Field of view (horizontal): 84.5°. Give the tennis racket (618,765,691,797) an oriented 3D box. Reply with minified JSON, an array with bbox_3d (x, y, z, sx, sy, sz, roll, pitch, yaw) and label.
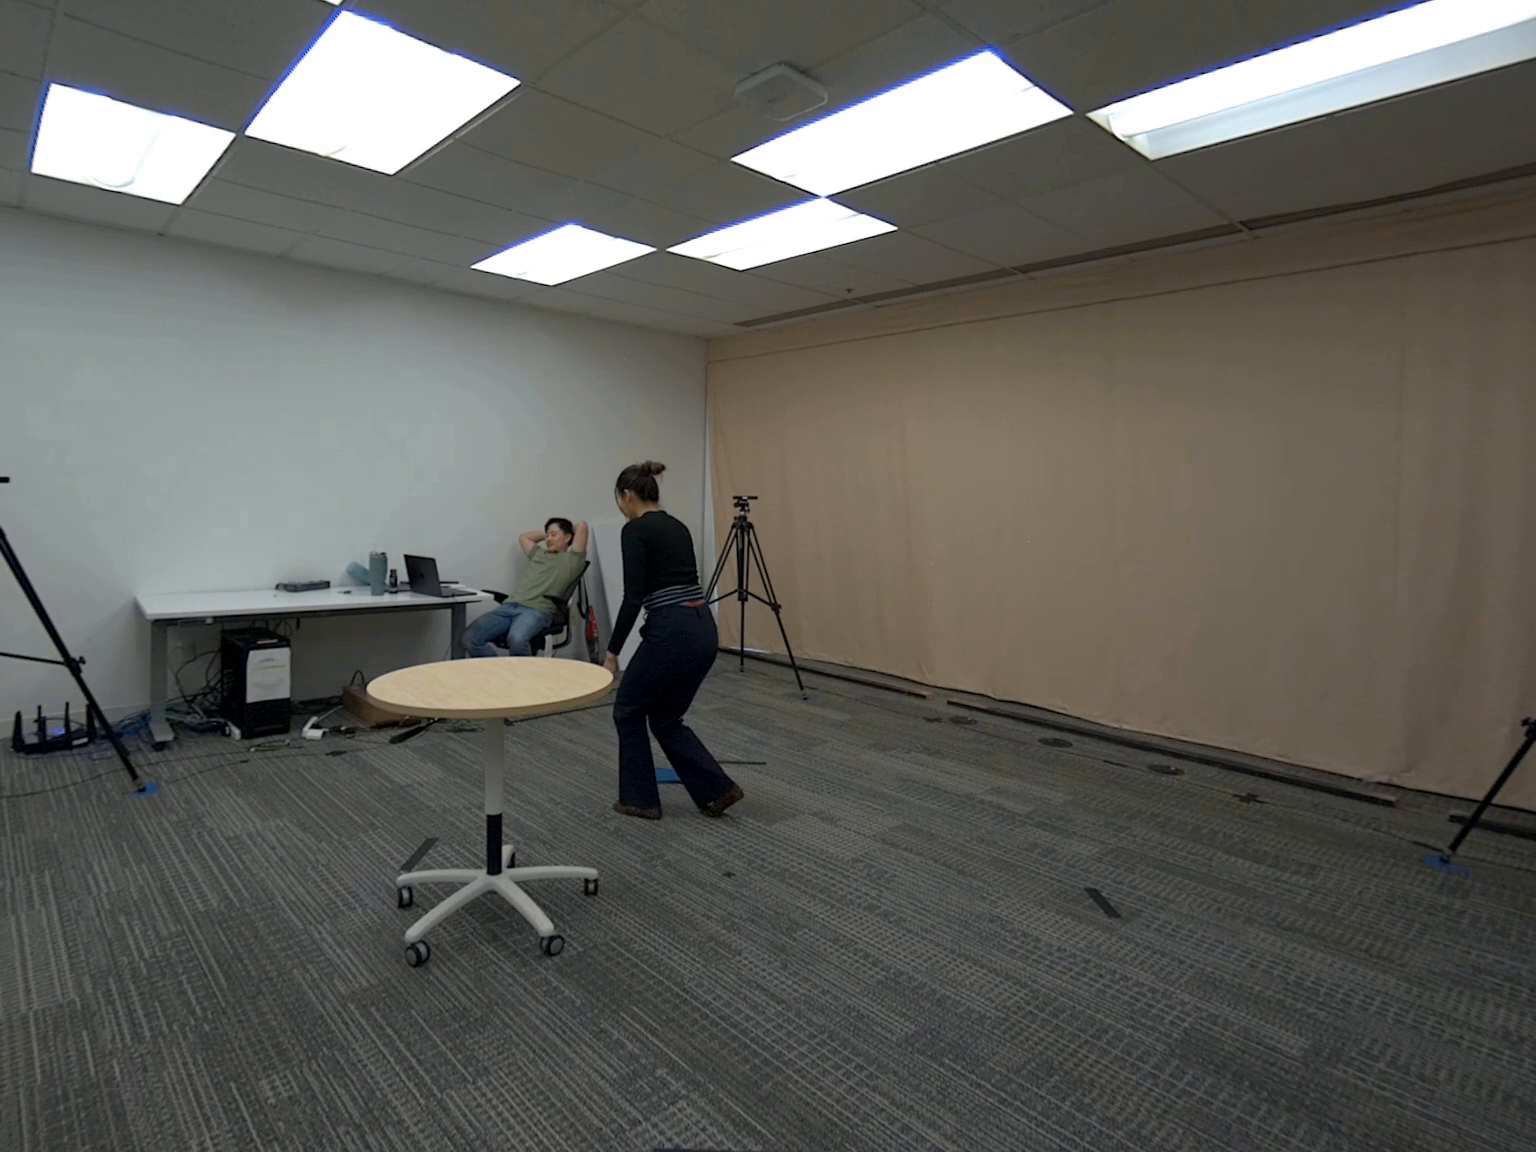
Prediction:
[{"bbox_3d":[-0.497,0.994,4.148,0.442,0.032,0.209,3,4,30],"label":"tennis racket"}]
